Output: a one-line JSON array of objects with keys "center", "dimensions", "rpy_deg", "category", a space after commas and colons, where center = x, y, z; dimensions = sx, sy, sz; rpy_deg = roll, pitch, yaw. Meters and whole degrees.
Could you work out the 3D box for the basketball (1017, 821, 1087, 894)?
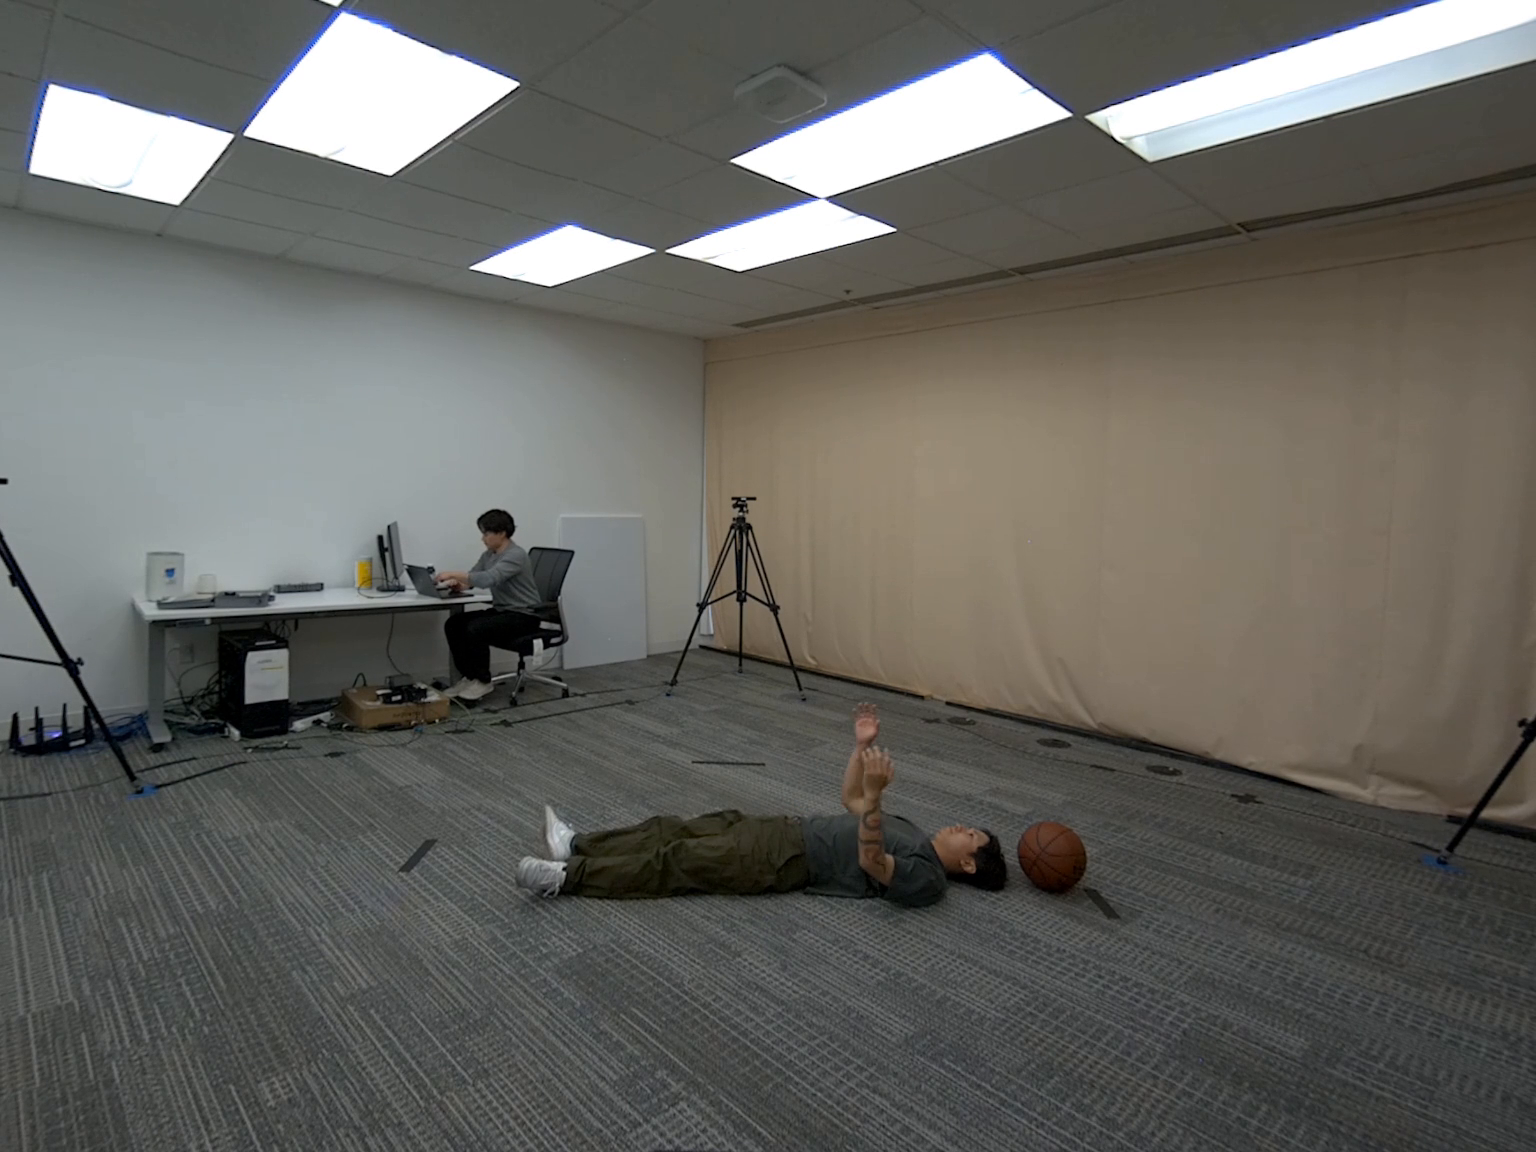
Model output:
[{"center": [1.026, 1.016, 3.081], "dimensions": [0.236, 0.235, 0.237], "rpy_deg": [1, 4, -1], "category": "basketball"}]
